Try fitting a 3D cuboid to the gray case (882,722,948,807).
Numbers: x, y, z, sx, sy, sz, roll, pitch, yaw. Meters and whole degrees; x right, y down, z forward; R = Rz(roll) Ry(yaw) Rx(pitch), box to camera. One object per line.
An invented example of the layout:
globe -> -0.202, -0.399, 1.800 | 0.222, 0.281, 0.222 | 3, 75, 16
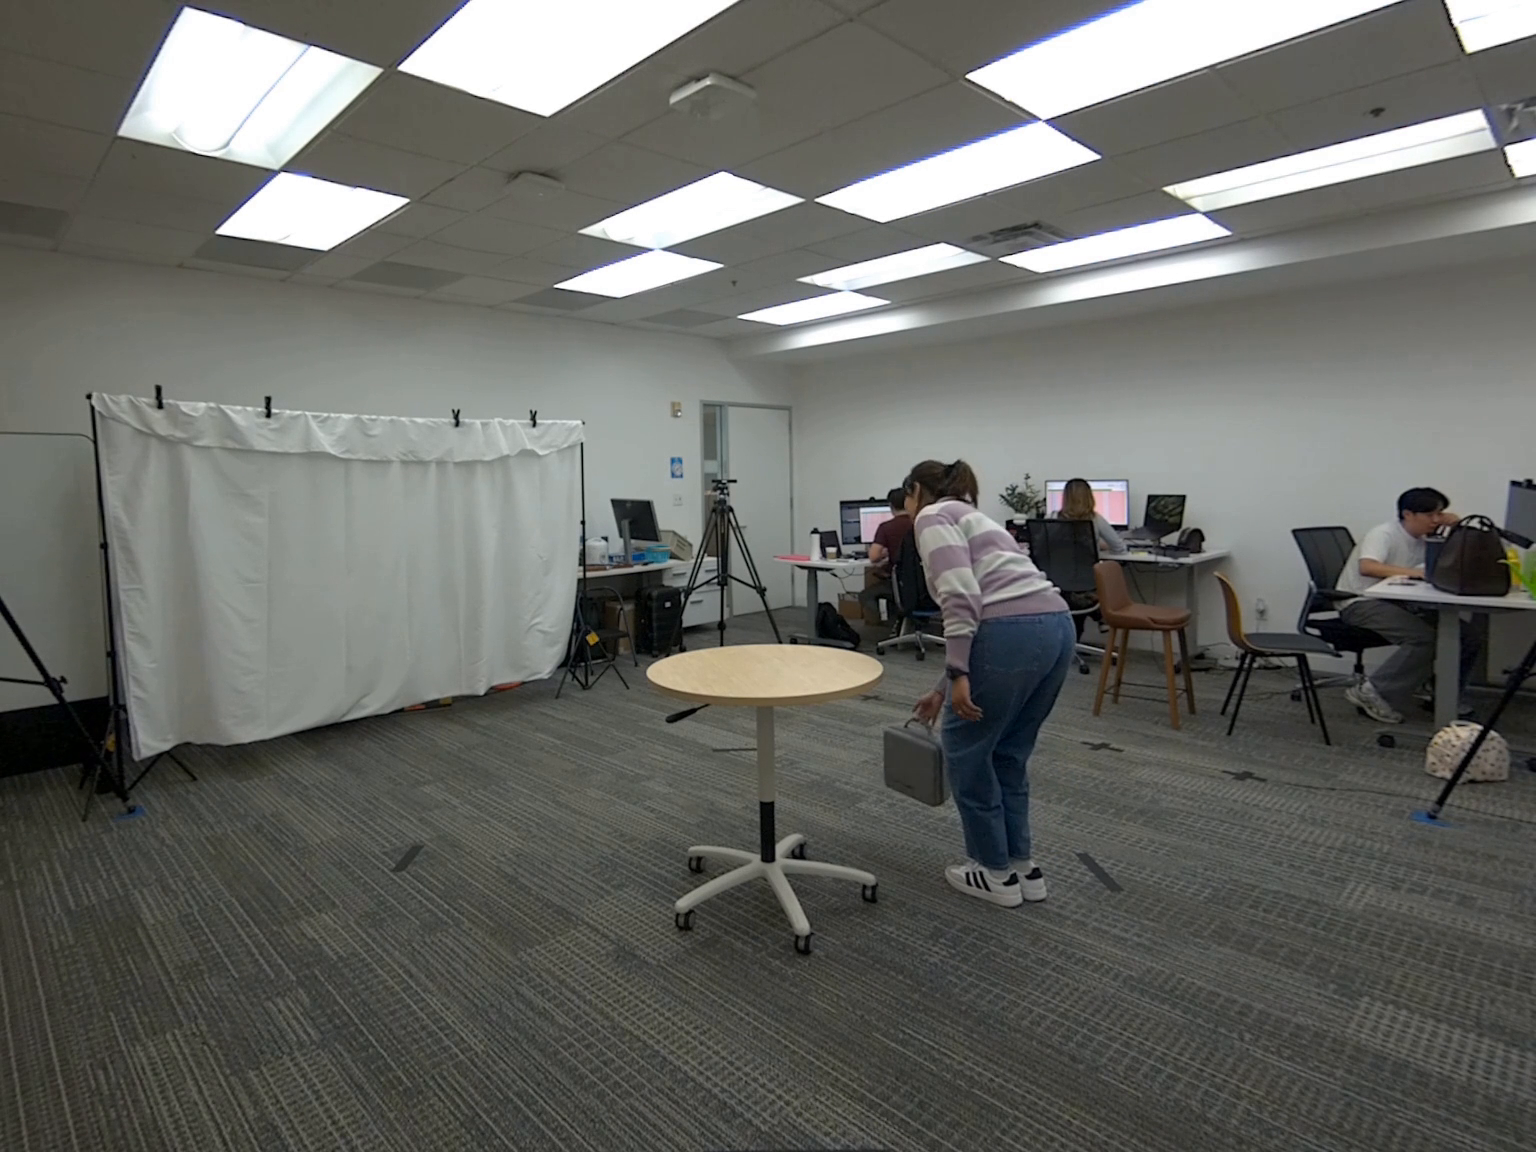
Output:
gray case -> 0.560, 0.691, 3.199 | 0.102, 0.257, 0.266 | -13, 17, -37
